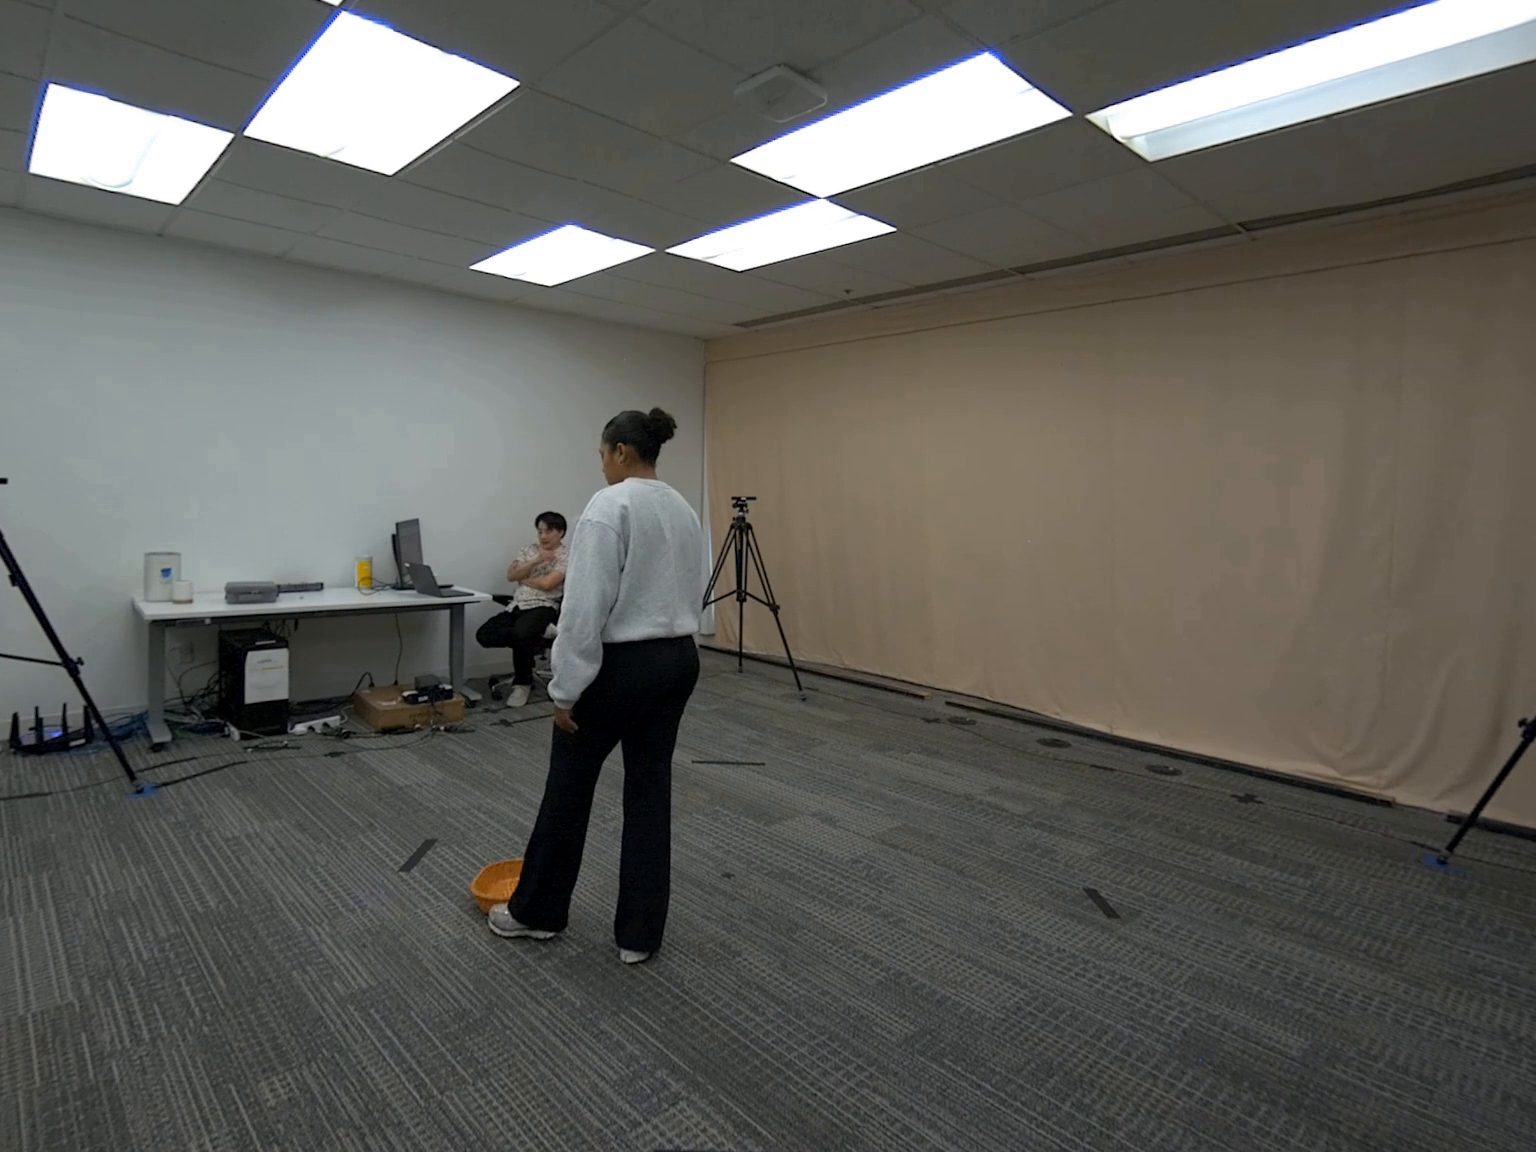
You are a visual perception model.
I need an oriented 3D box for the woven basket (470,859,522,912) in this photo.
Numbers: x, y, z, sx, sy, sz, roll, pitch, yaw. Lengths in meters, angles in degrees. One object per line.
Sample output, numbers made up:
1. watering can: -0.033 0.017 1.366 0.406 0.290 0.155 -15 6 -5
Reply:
1. woven basket: -0.867 1.065 2.851 0.252 0.073 0.351 2 2 -4
